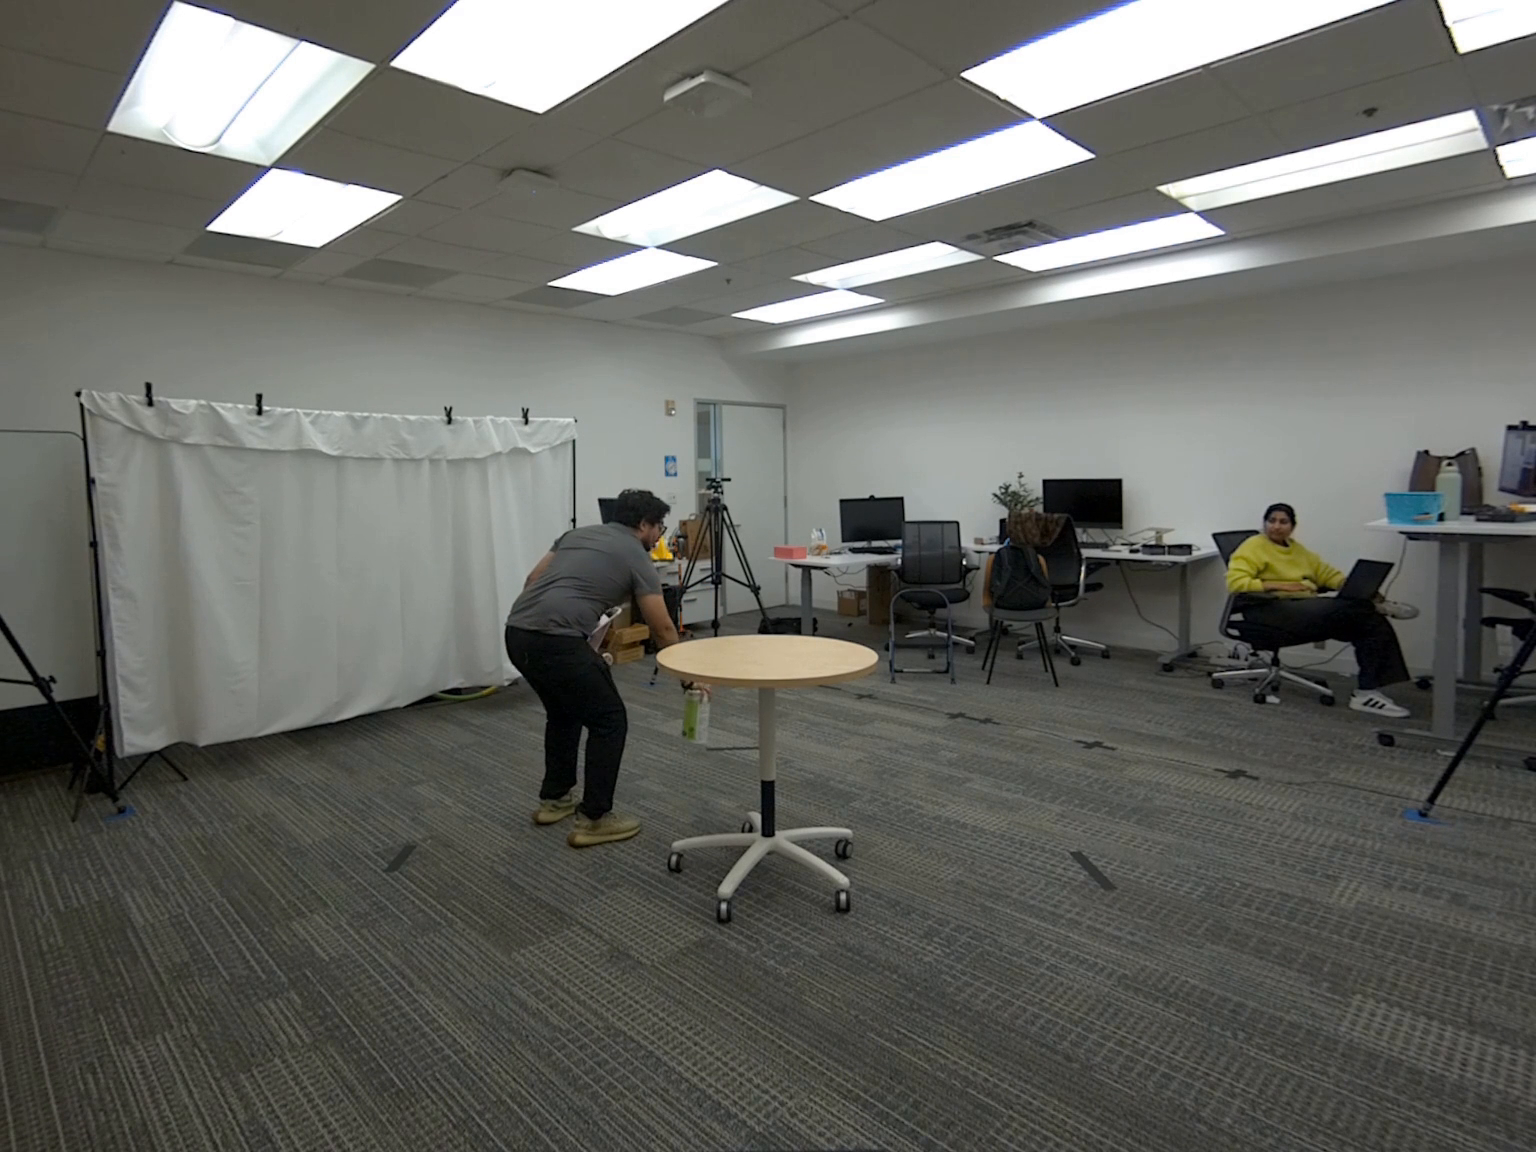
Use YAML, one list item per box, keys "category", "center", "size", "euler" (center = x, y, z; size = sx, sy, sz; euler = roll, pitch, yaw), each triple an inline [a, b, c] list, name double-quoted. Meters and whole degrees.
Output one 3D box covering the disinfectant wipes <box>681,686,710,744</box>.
- category: "disinfectant wipes"
  center: [-0.310, 0.601, 3.647]
  size: [0.117, 0.217, 0.118]
  euler: [5, 2, -2]
